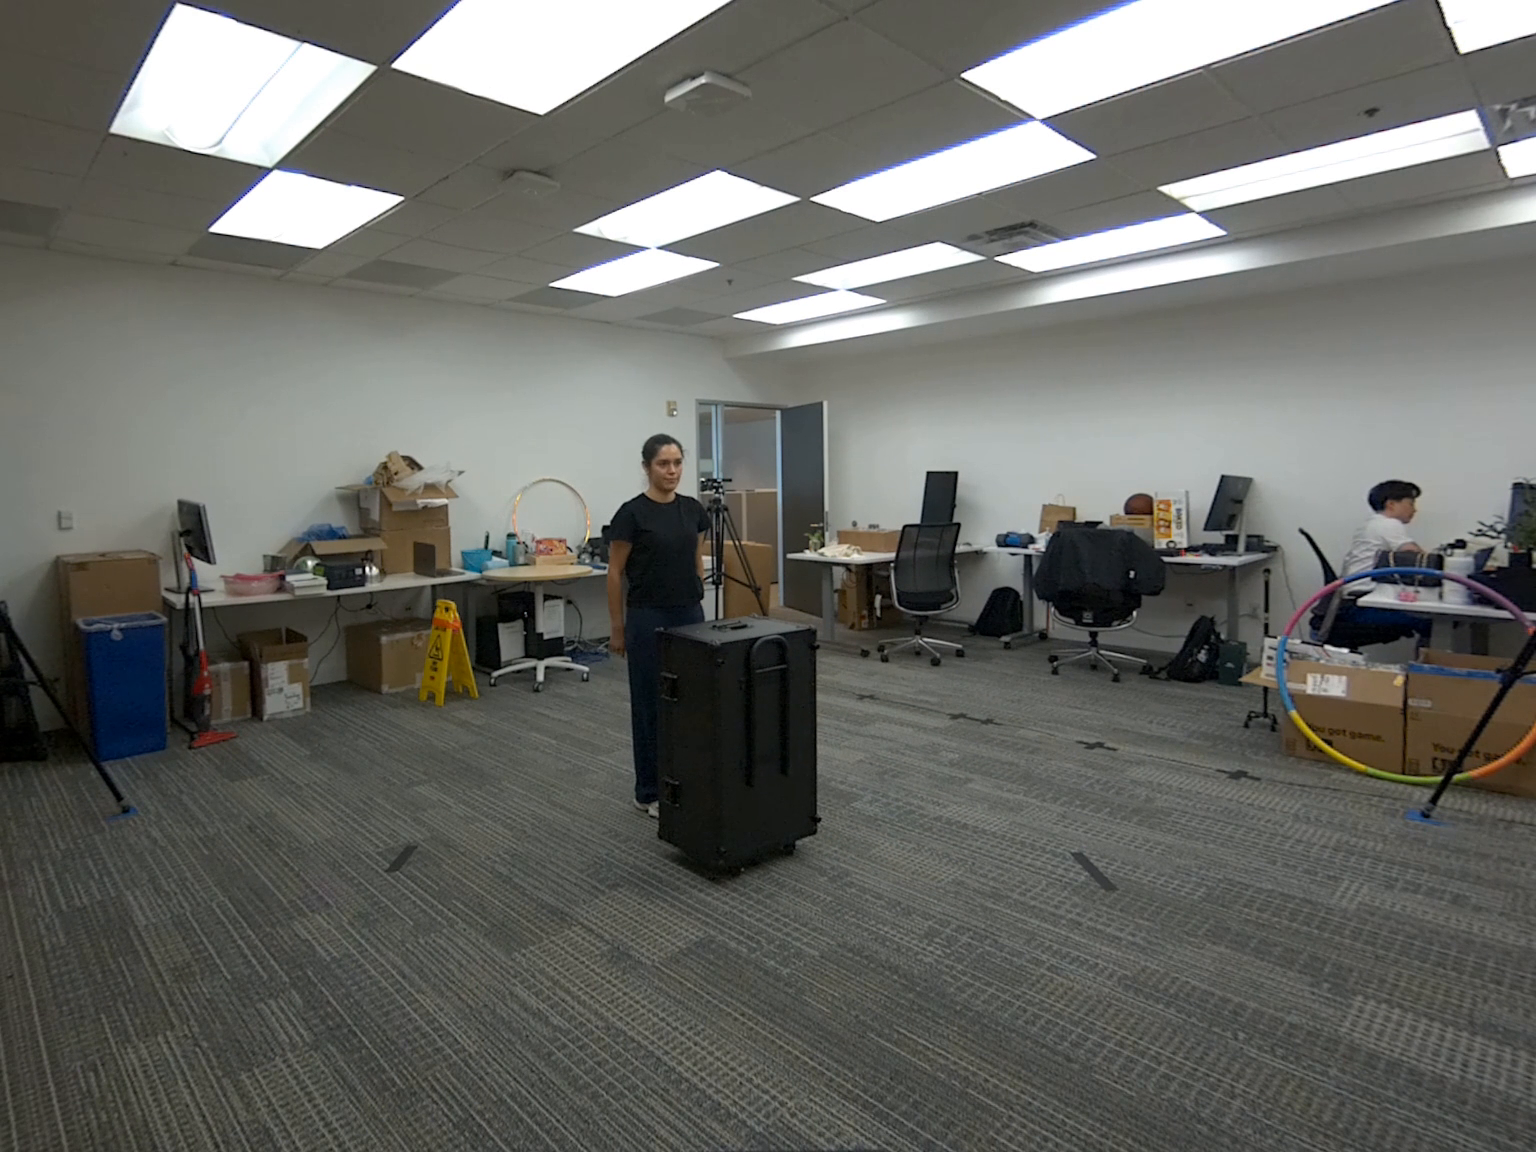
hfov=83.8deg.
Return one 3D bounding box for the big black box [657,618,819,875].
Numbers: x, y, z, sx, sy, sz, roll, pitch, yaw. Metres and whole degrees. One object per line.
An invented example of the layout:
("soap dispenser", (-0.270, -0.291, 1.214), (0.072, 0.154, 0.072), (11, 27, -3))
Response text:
("big black box", (-0.105, 0.614, 3.164), (0.507, 0.858, 0.409), (-4, 6, -40))
